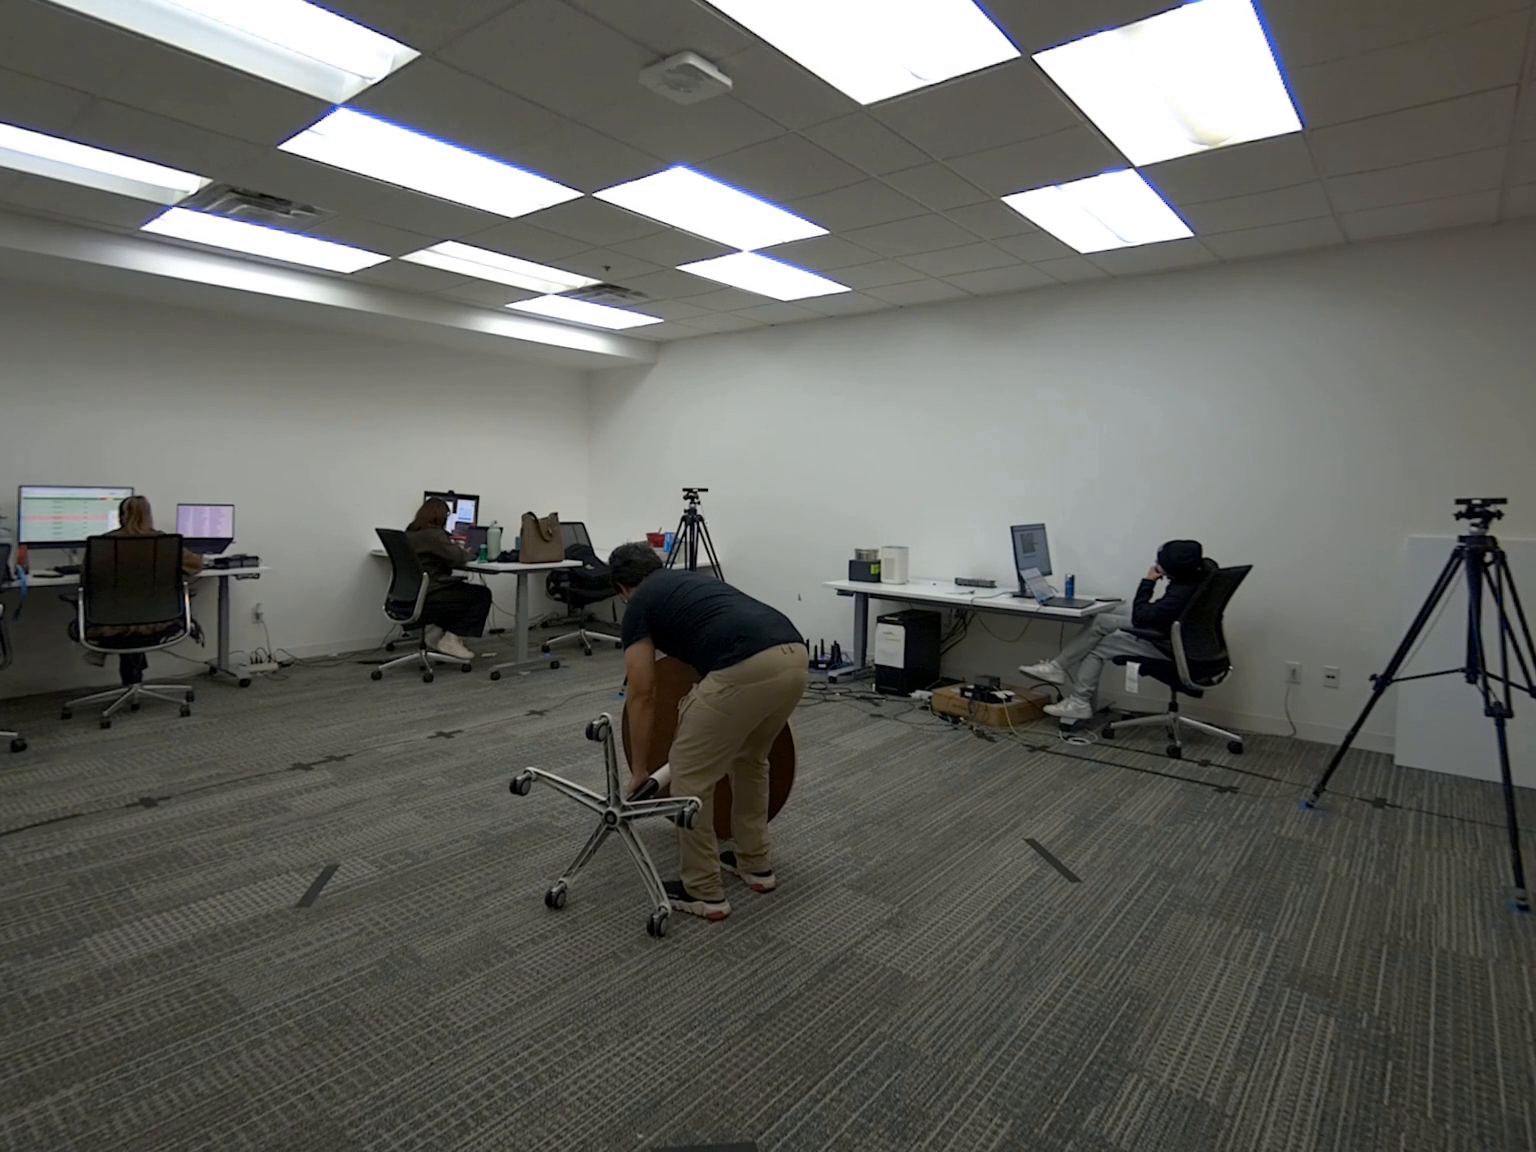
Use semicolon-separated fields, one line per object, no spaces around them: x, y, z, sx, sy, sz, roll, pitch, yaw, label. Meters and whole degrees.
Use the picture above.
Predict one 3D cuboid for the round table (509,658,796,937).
-0.402;0.714;3.022;0.805;0.780;0.772;3;8;24;round table
